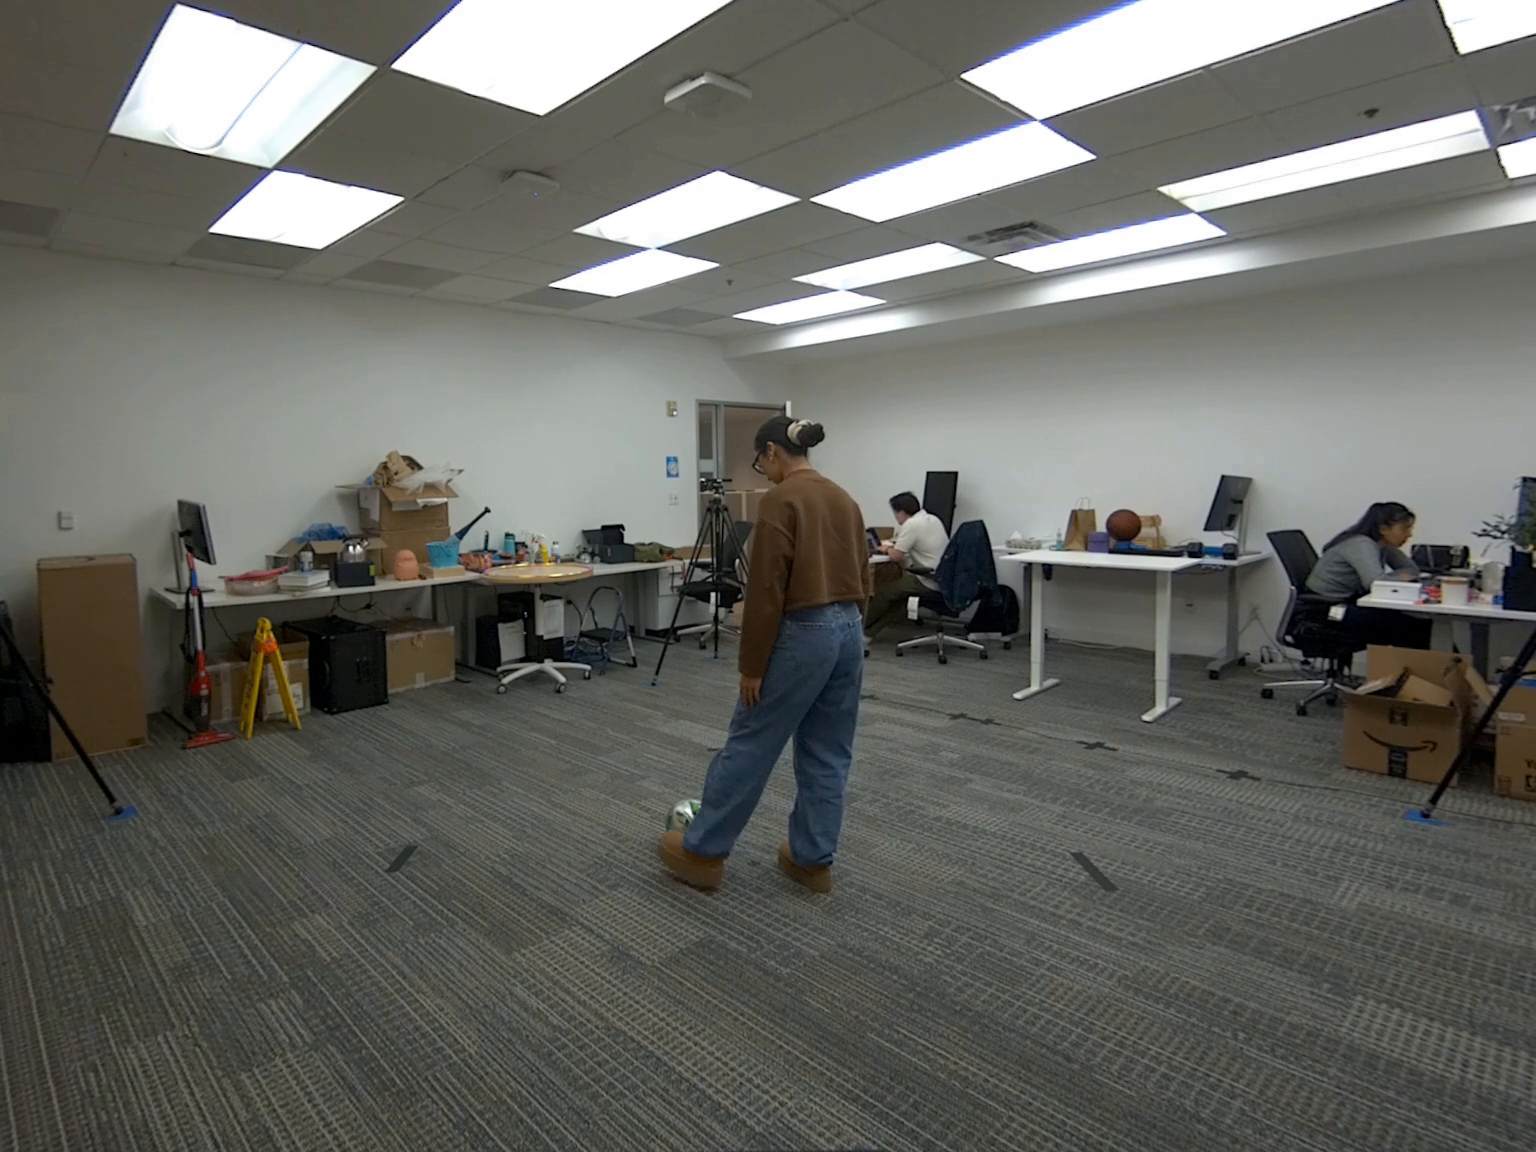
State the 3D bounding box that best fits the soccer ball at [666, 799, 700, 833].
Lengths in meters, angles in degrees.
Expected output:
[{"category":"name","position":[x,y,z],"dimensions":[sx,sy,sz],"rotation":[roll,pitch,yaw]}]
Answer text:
[{"category":"soccer ball","position":[-0.290,0.940,3.243],"dimensions":[0.187,0.187,0.188],"rotation":[-1,5,-2]}]
